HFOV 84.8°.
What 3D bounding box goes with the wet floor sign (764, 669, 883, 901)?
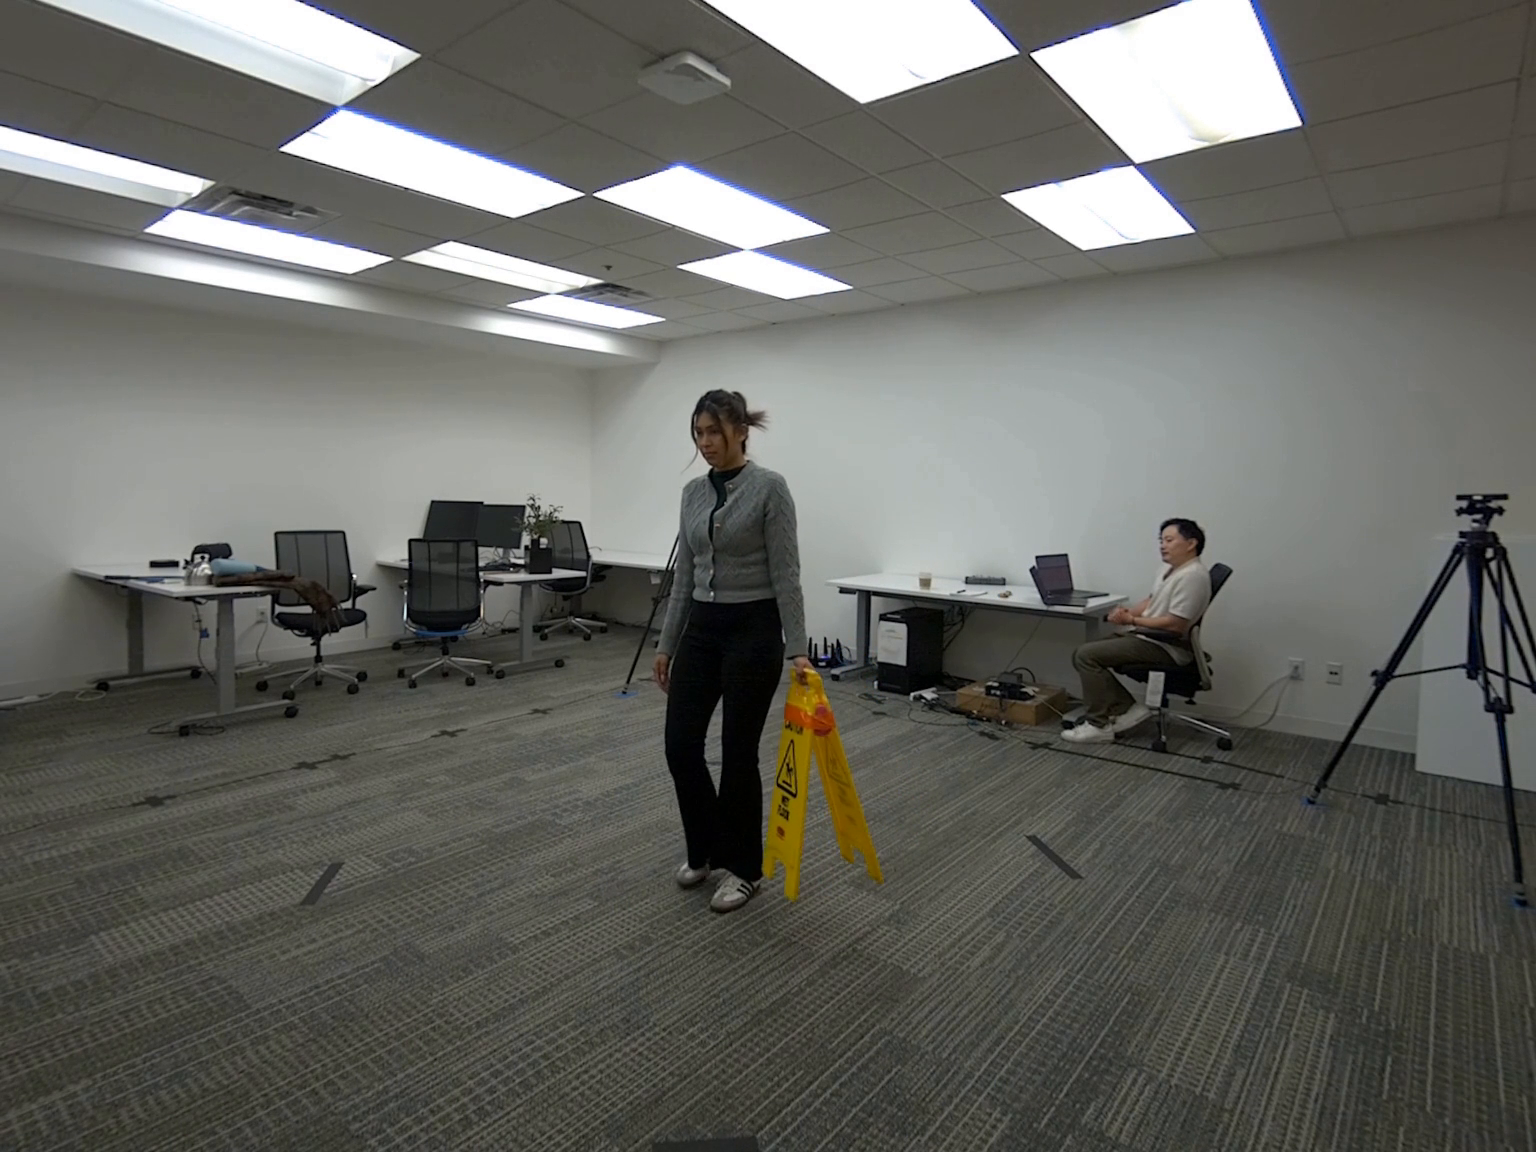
[{"bbox_3d":[0.128,0.609,2.644,0.285,0.648,0.286,-5,-2,-19],"label":"wet floor sign"}]
